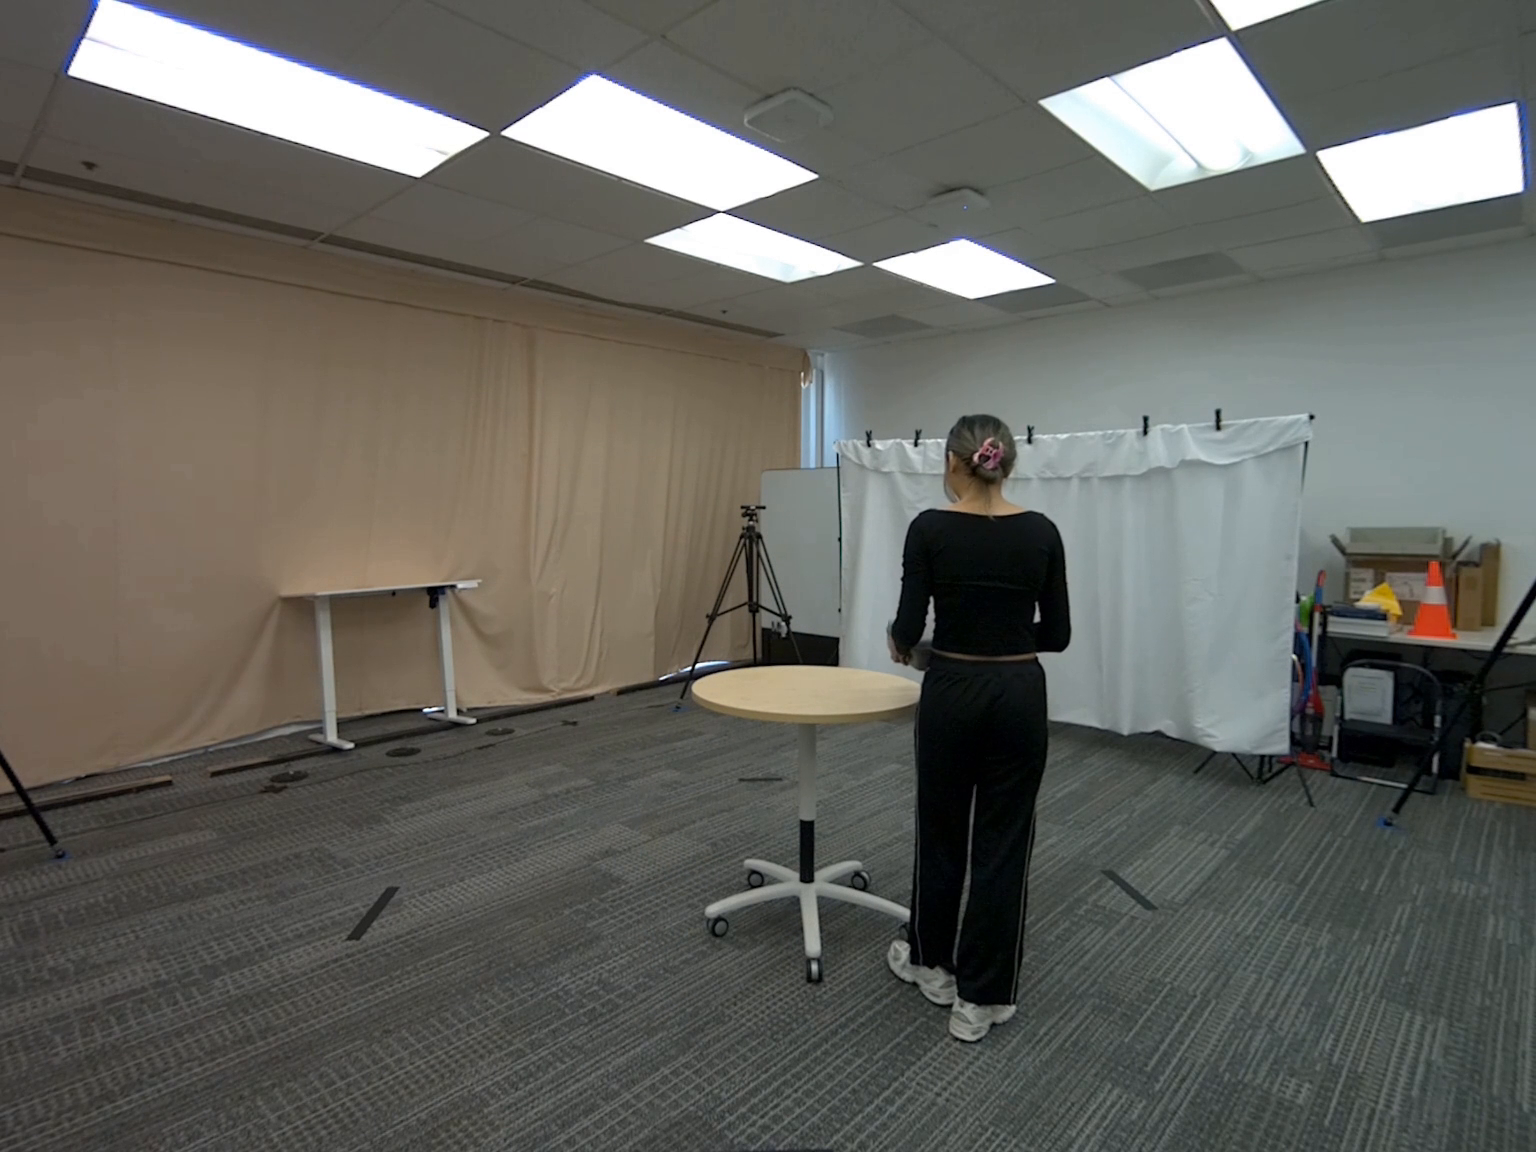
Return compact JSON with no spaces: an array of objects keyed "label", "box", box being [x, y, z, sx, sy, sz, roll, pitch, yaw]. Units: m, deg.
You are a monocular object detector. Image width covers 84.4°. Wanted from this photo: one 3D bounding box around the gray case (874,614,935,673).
[{"label":"gray case","box":[0.503,0.198,2.537,0.250,0.104,0.269,-6,10,-30]}]
